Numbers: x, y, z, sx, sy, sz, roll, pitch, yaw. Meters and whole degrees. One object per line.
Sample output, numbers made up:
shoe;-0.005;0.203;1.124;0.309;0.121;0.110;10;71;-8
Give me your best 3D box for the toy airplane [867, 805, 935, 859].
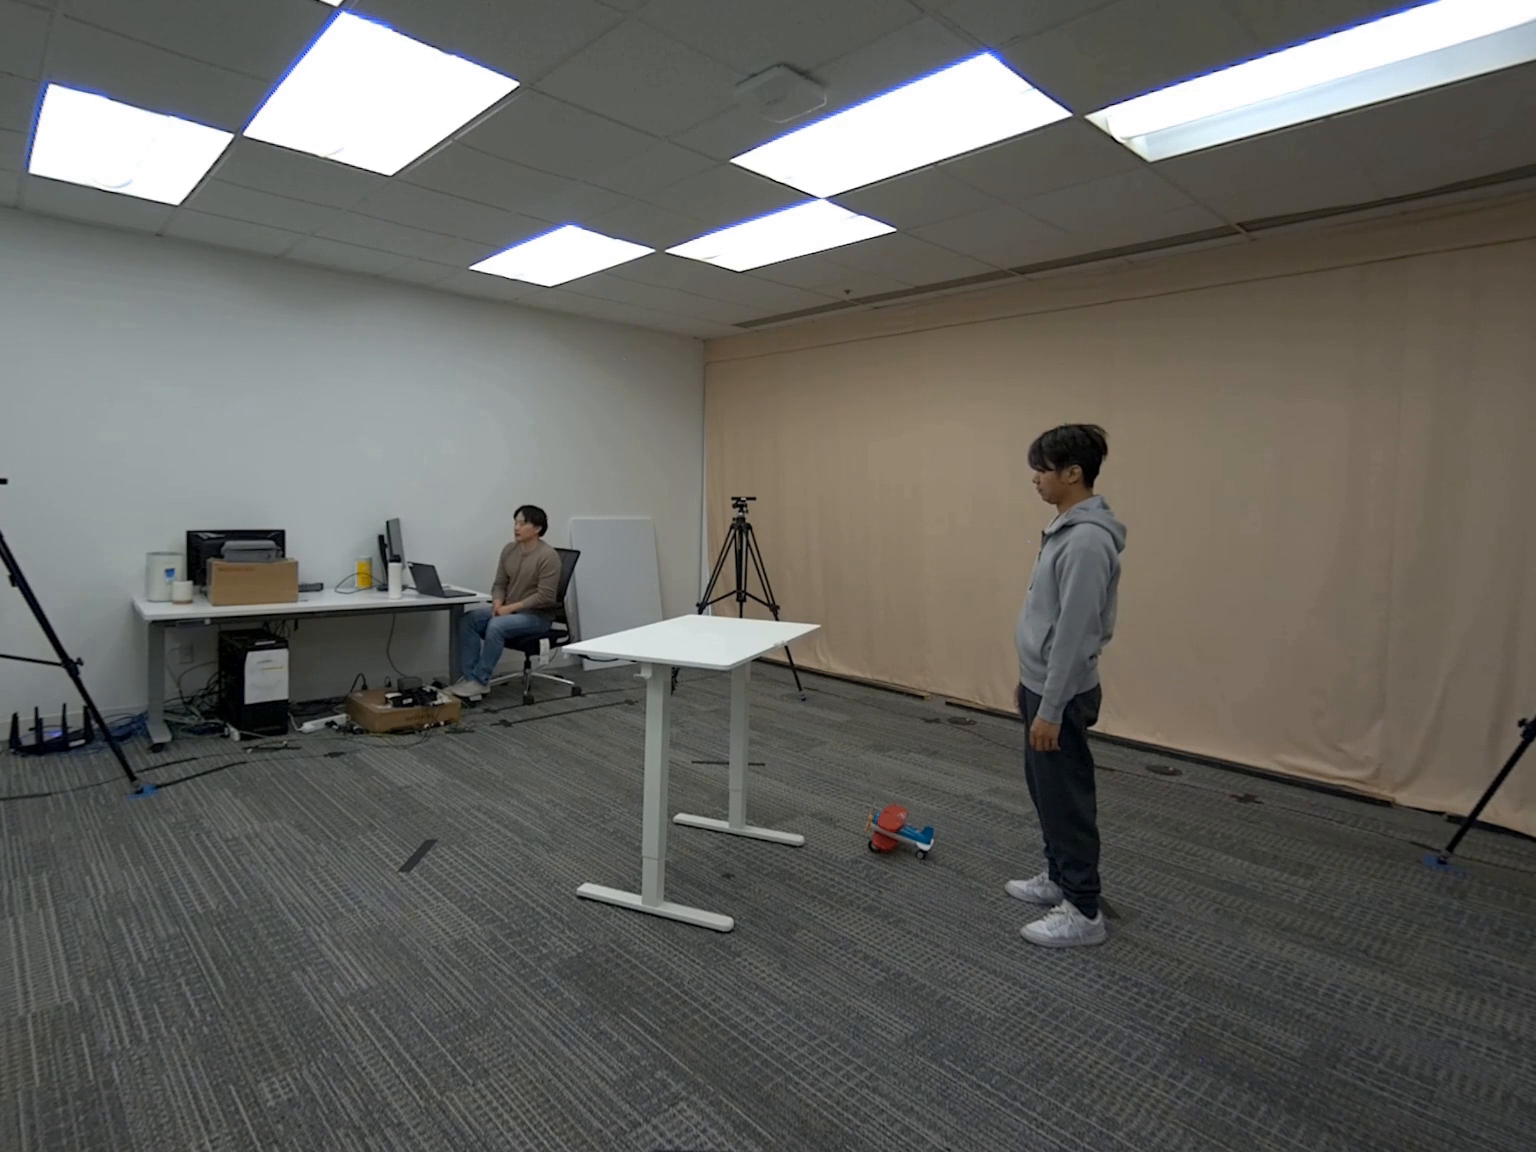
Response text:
toy airplane;0.510;1.021;3.367;0.258;0.156;0.252;0;4;-4
